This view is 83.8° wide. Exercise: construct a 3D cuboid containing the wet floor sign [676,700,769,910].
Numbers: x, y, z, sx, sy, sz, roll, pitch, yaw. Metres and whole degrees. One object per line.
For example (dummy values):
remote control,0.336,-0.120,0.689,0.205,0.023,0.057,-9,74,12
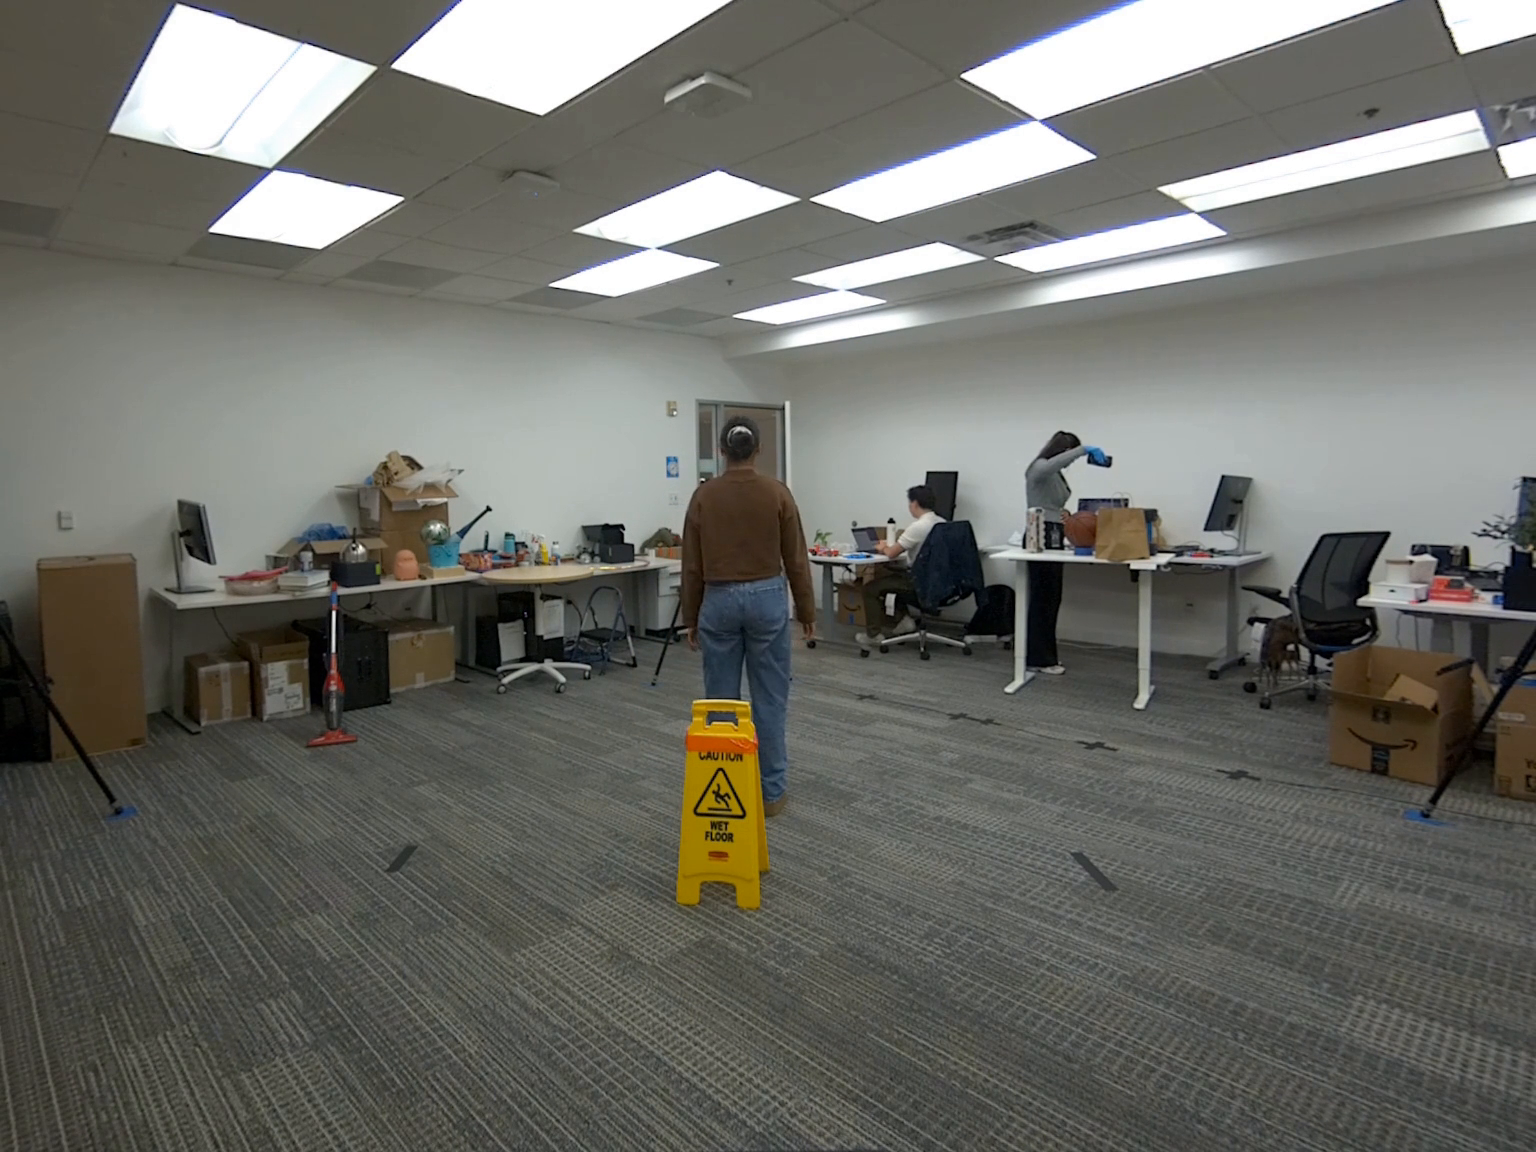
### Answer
wet floor sign,-0.147,0.755,2.913,0.285,0.643,0.288,-1,5,8
